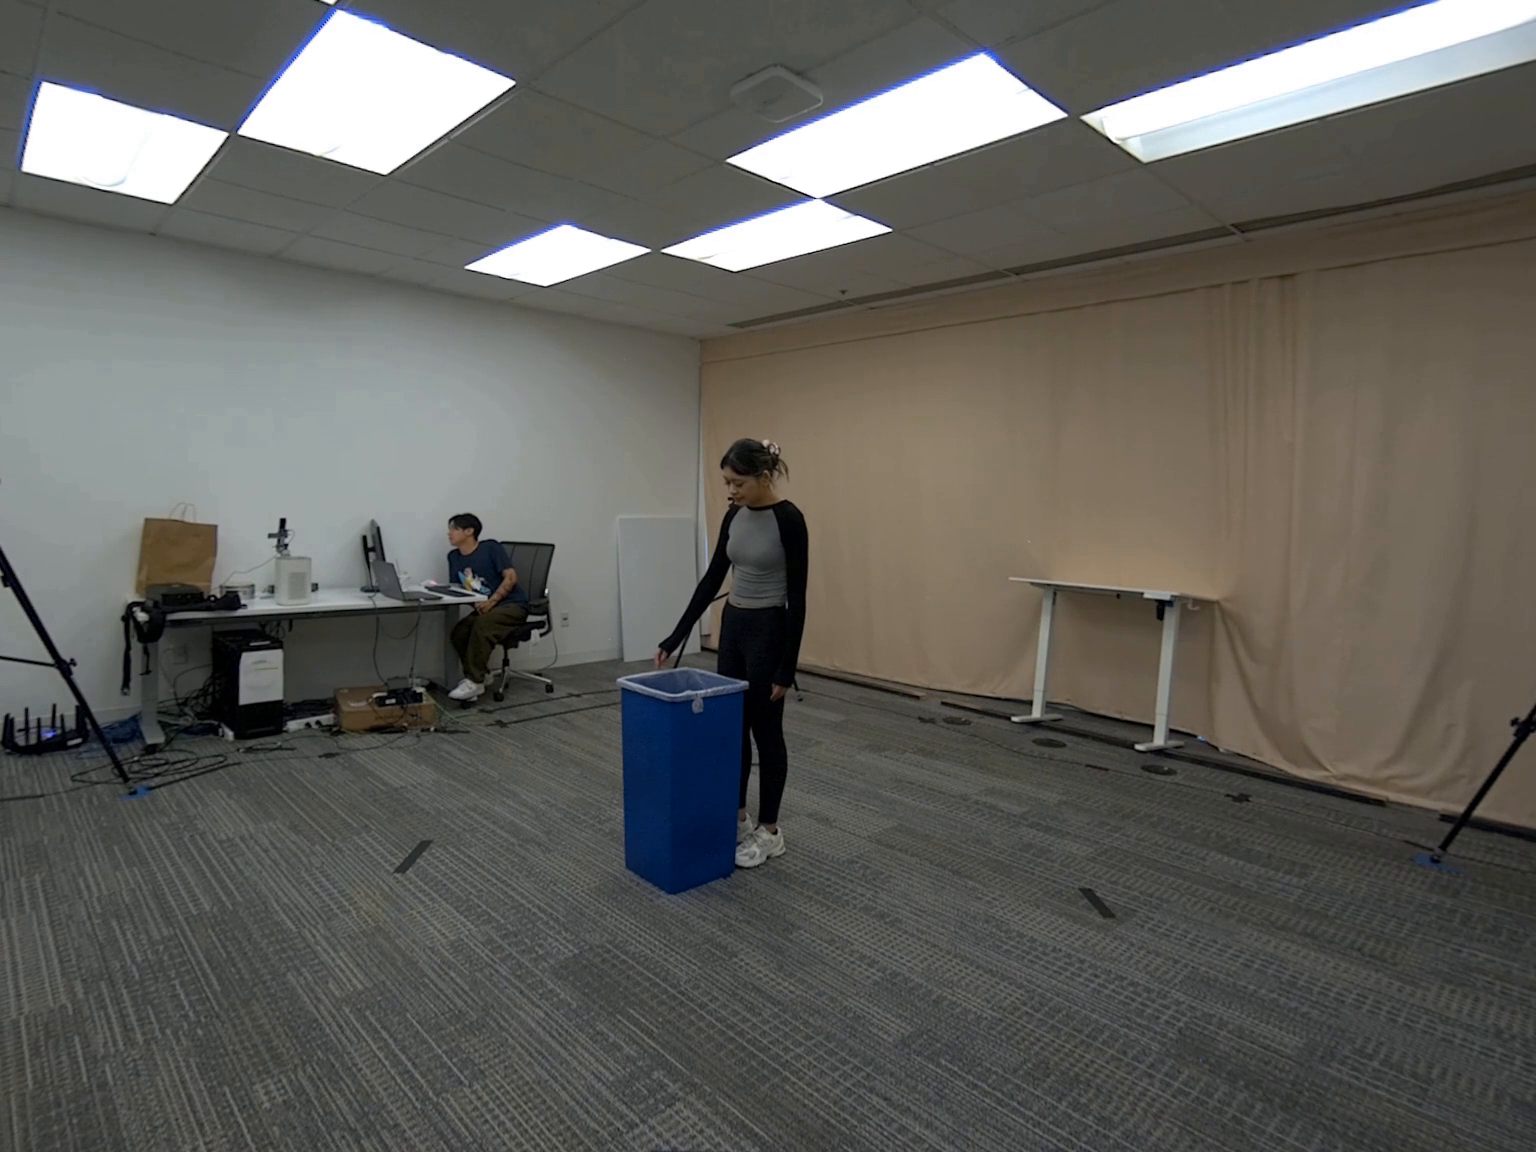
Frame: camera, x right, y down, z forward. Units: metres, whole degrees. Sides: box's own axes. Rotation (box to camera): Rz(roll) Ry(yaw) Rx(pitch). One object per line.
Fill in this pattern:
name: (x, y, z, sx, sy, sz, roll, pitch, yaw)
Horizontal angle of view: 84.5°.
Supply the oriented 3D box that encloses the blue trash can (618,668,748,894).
blue trash can: (-0.336, 0.743, 3.131, 0.369, 0.712, 0.384, -2, 5, -43)
